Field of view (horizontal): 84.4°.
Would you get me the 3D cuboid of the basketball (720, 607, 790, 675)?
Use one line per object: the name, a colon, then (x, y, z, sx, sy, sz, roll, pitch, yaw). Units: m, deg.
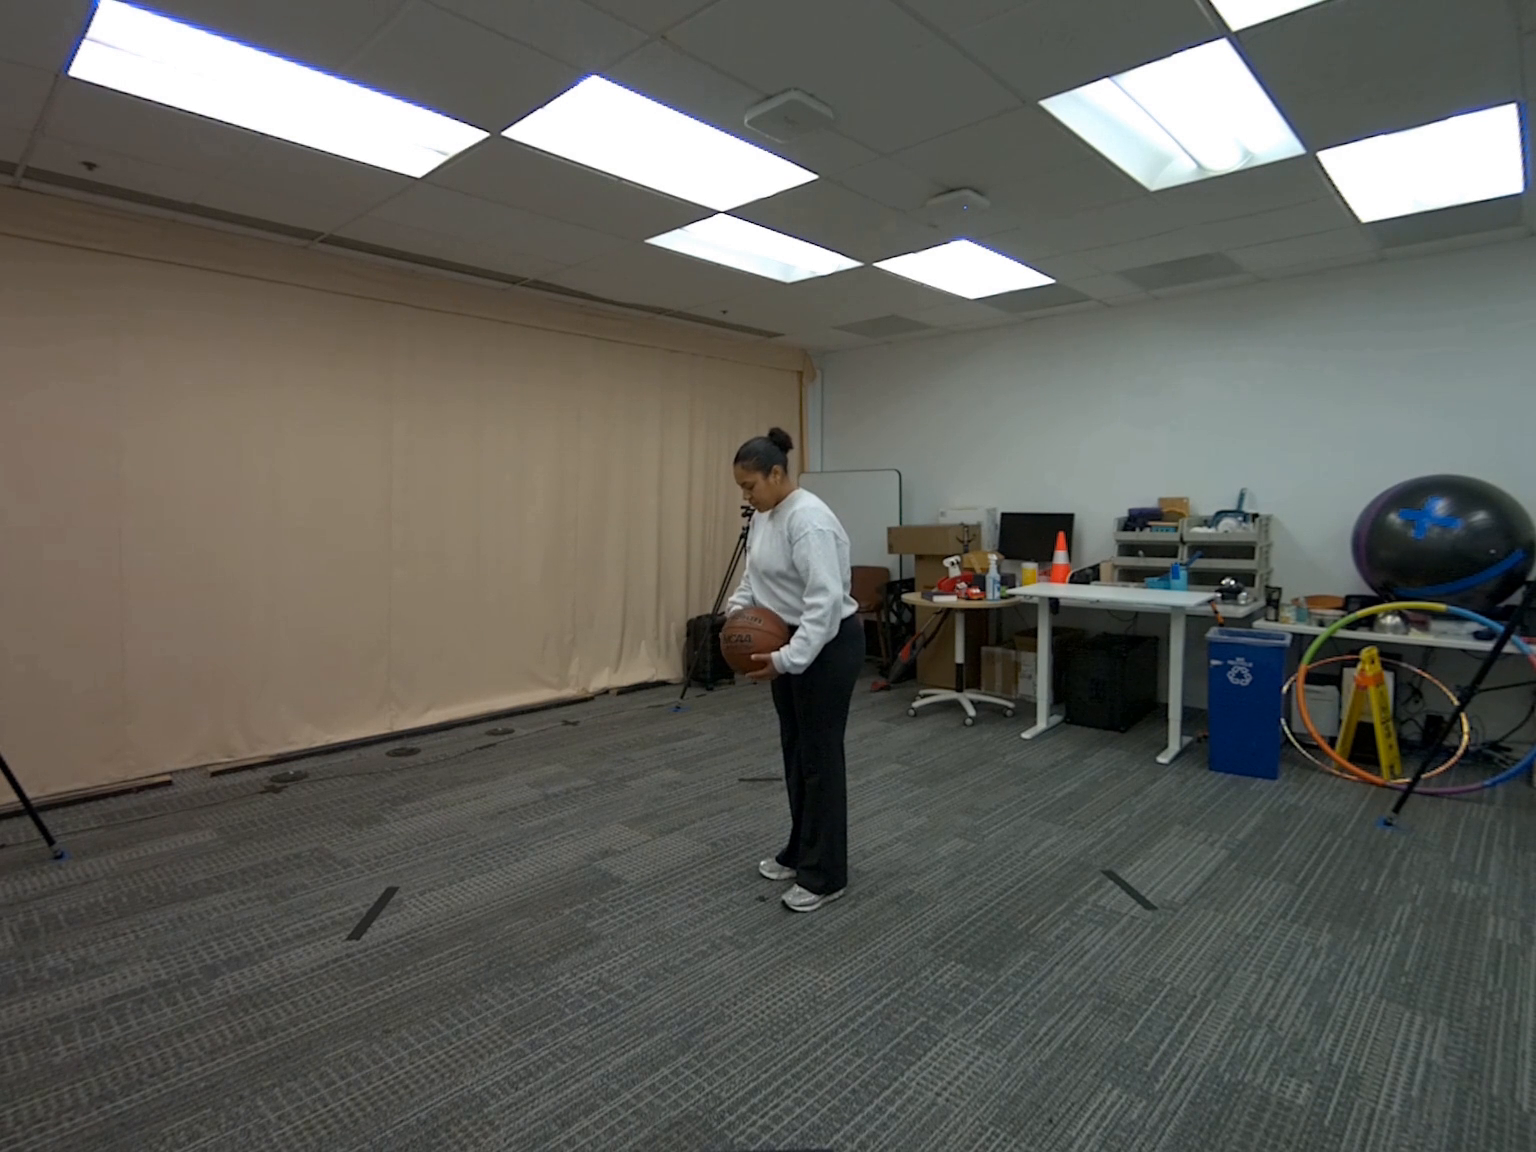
basketball: (-0.029, 0.214, 2.838, 0.236, 0.235, 0.237, 0, 4, -2)
